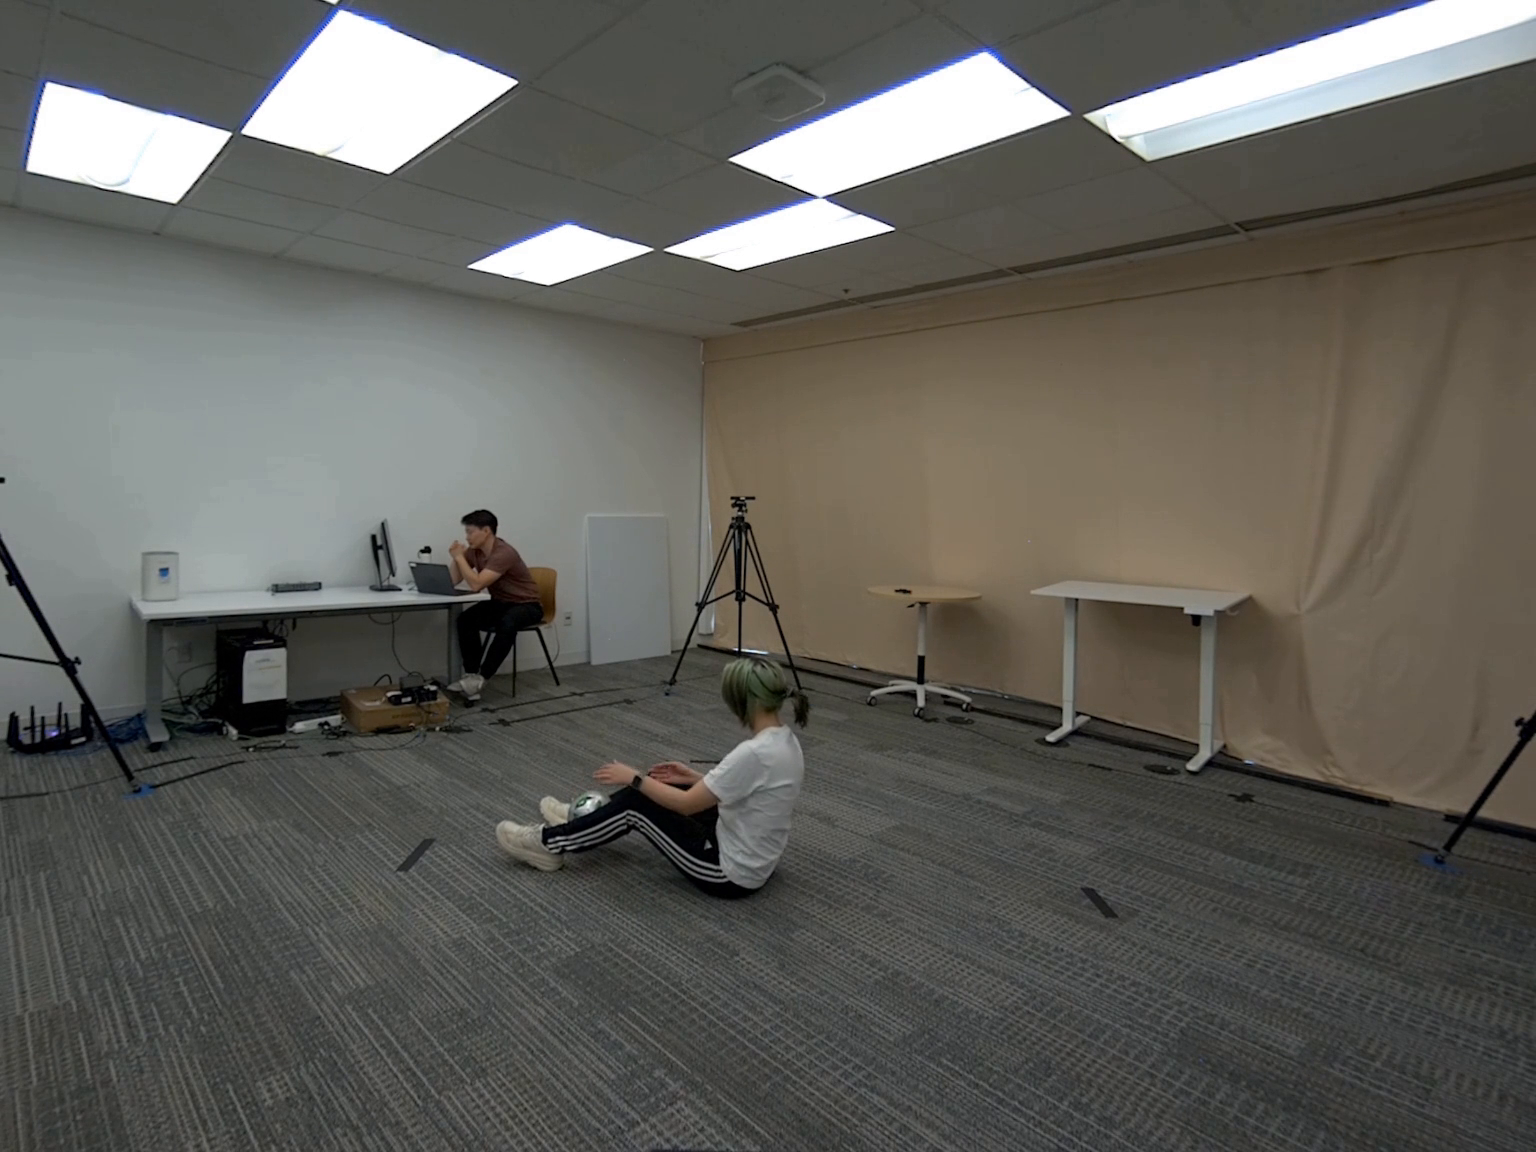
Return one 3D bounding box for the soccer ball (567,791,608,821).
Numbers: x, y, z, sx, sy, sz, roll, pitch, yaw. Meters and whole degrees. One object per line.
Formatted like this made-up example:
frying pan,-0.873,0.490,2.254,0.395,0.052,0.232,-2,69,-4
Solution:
soccer ball,-0.661,0.913,3.196,0.187,0.187,0.188,1,4,-1
